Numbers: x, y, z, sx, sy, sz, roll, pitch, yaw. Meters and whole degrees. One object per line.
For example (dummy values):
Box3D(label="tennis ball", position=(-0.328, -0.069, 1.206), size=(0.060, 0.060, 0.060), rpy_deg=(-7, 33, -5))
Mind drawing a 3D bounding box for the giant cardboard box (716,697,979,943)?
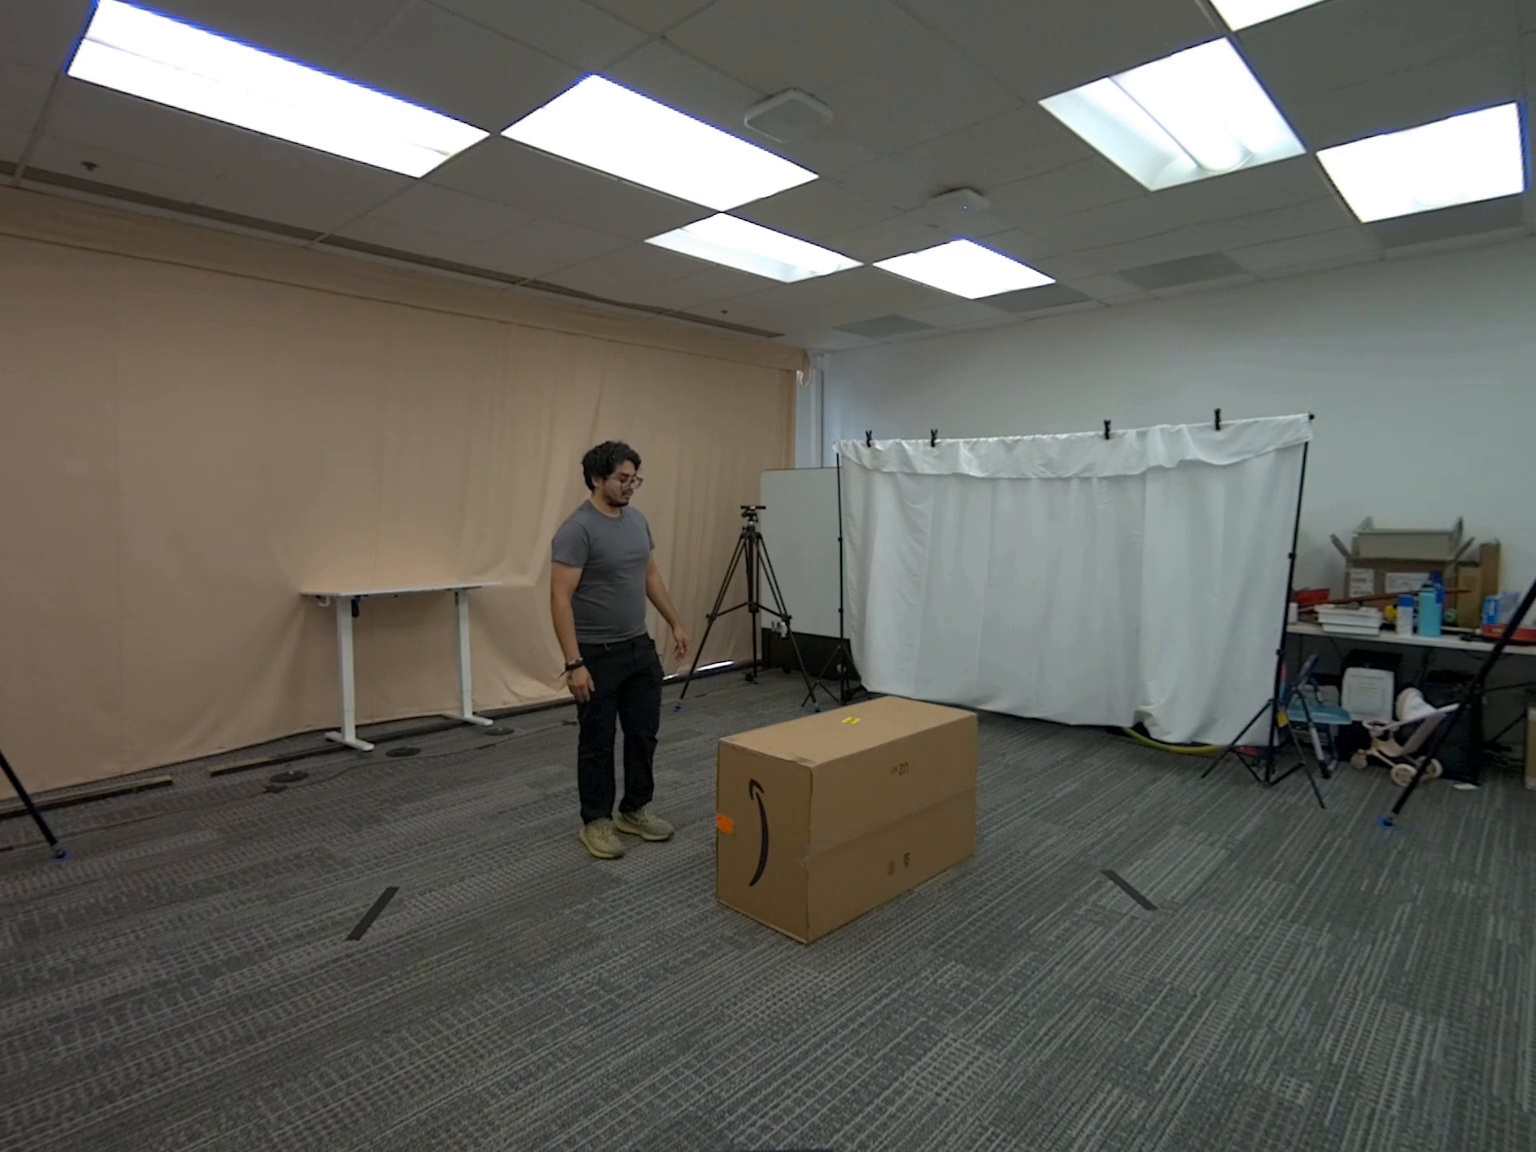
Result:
Box3D(label="giant cardboard box", position=(0.327, 0.845, 3.142), size=(0.994, 0.576, 0.440), rpy_deg=(-4, 5, -44))
